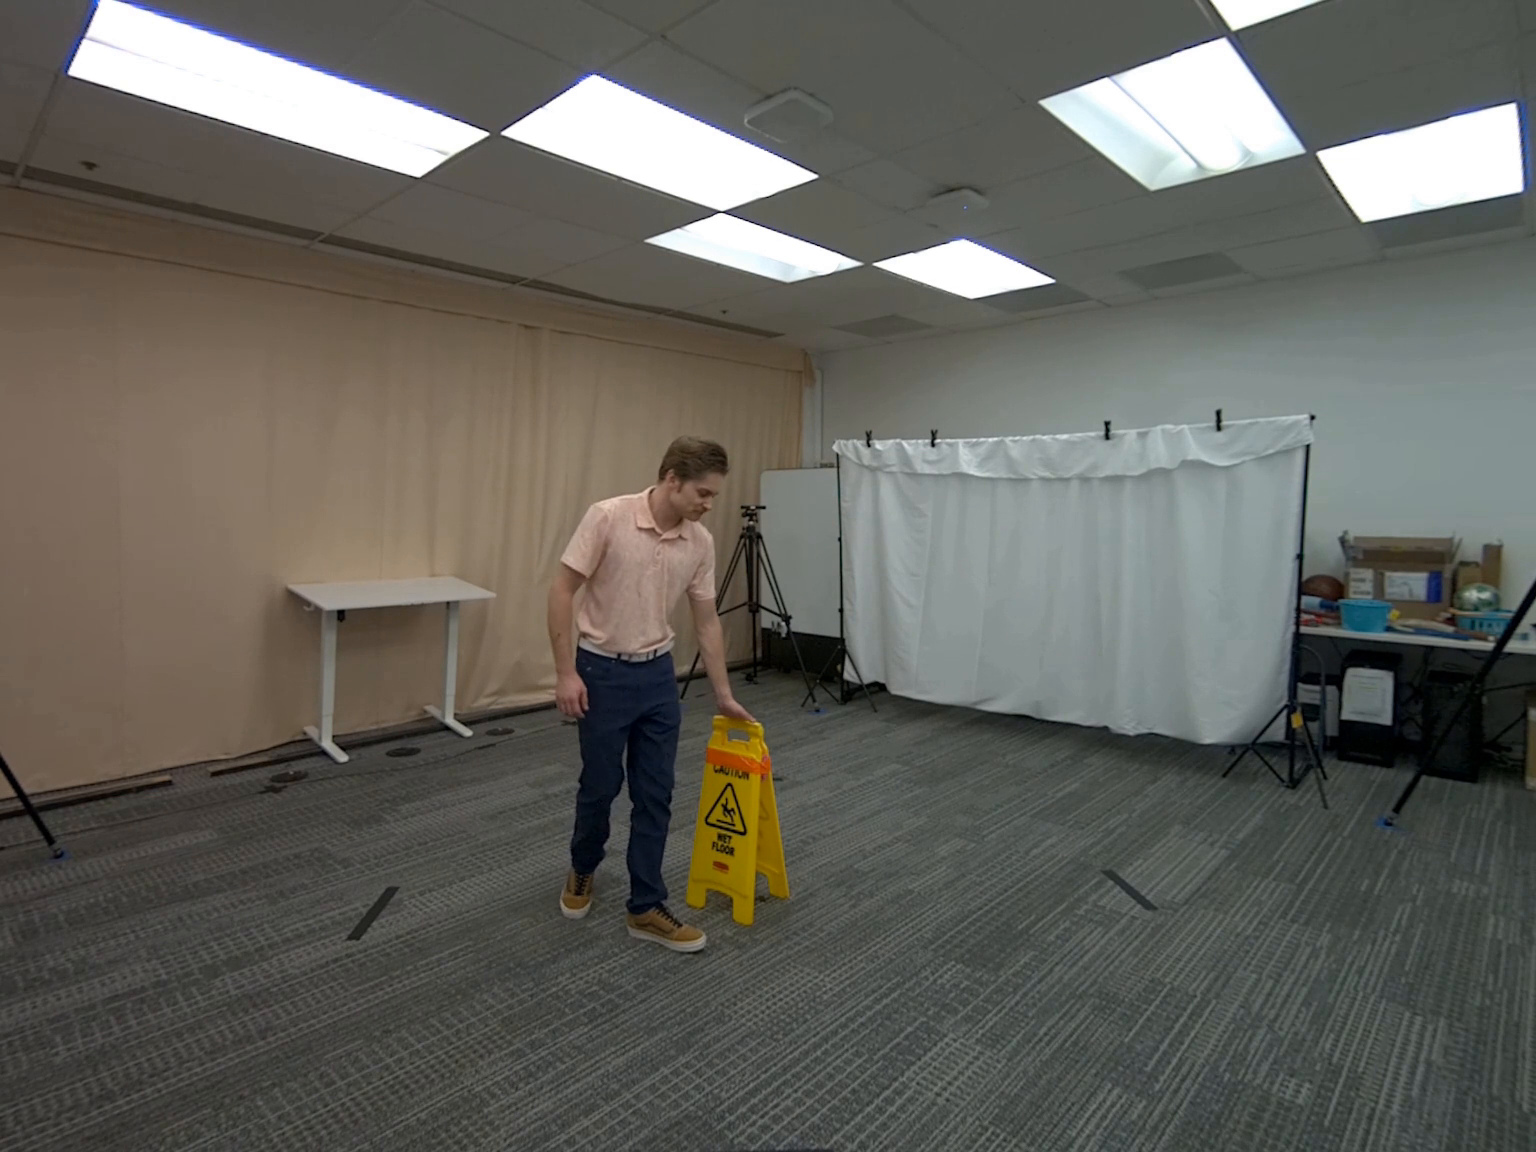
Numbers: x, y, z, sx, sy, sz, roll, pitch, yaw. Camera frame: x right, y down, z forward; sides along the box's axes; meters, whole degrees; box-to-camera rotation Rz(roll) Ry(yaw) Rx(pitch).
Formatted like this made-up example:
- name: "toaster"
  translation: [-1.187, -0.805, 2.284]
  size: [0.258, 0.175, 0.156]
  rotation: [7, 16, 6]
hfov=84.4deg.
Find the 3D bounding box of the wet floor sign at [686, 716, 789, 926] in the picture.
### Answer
- name: "wet floor sign"
  translation: [-0.104, 0.821, 2.953]
  size: [0.291, 0.645, 0.281]
  rotation: [3, 4, 34]
